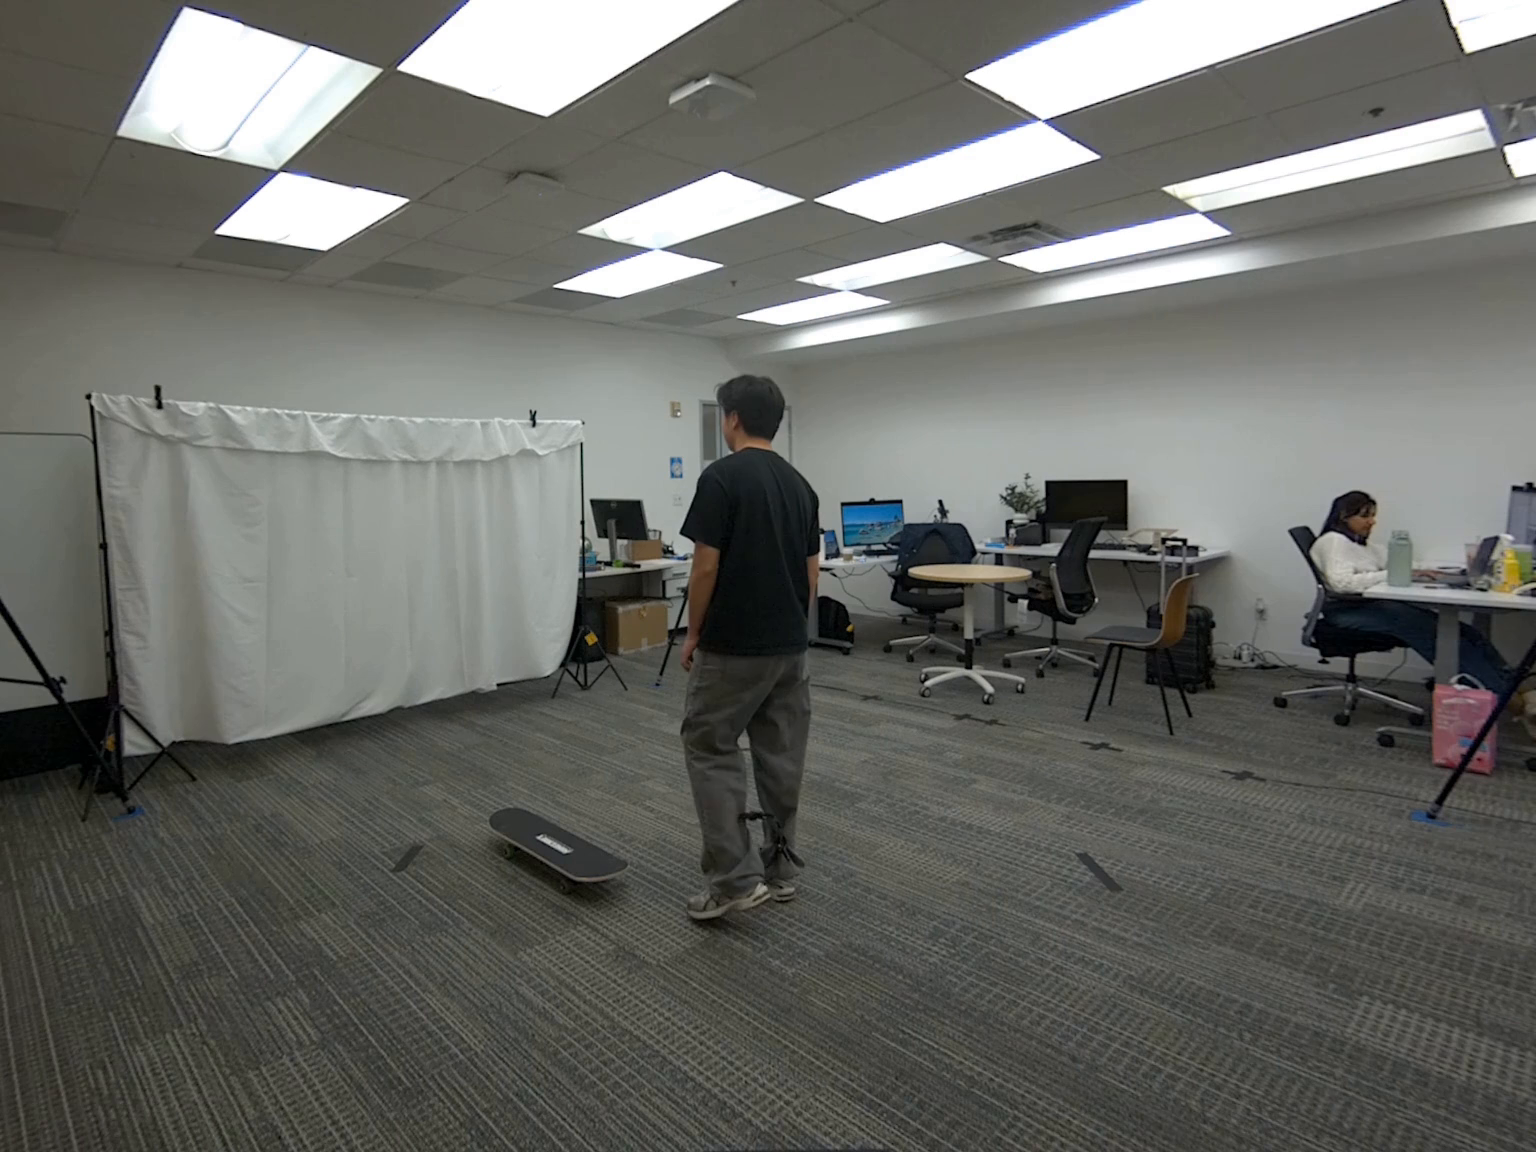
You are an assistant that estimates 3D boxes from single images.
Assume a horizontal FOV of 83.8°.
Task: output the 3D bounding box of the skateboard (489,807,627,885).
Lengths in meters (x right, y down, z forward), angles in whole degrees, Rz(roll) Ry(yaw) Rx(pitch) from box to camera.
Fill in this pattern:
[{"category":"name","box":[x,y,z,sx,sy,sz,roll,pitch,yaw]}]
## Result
[{"category":"skateboard","box":[-0.776,1.010,3.104,0.188,0.110,0.810,-7,9,-43]}]
